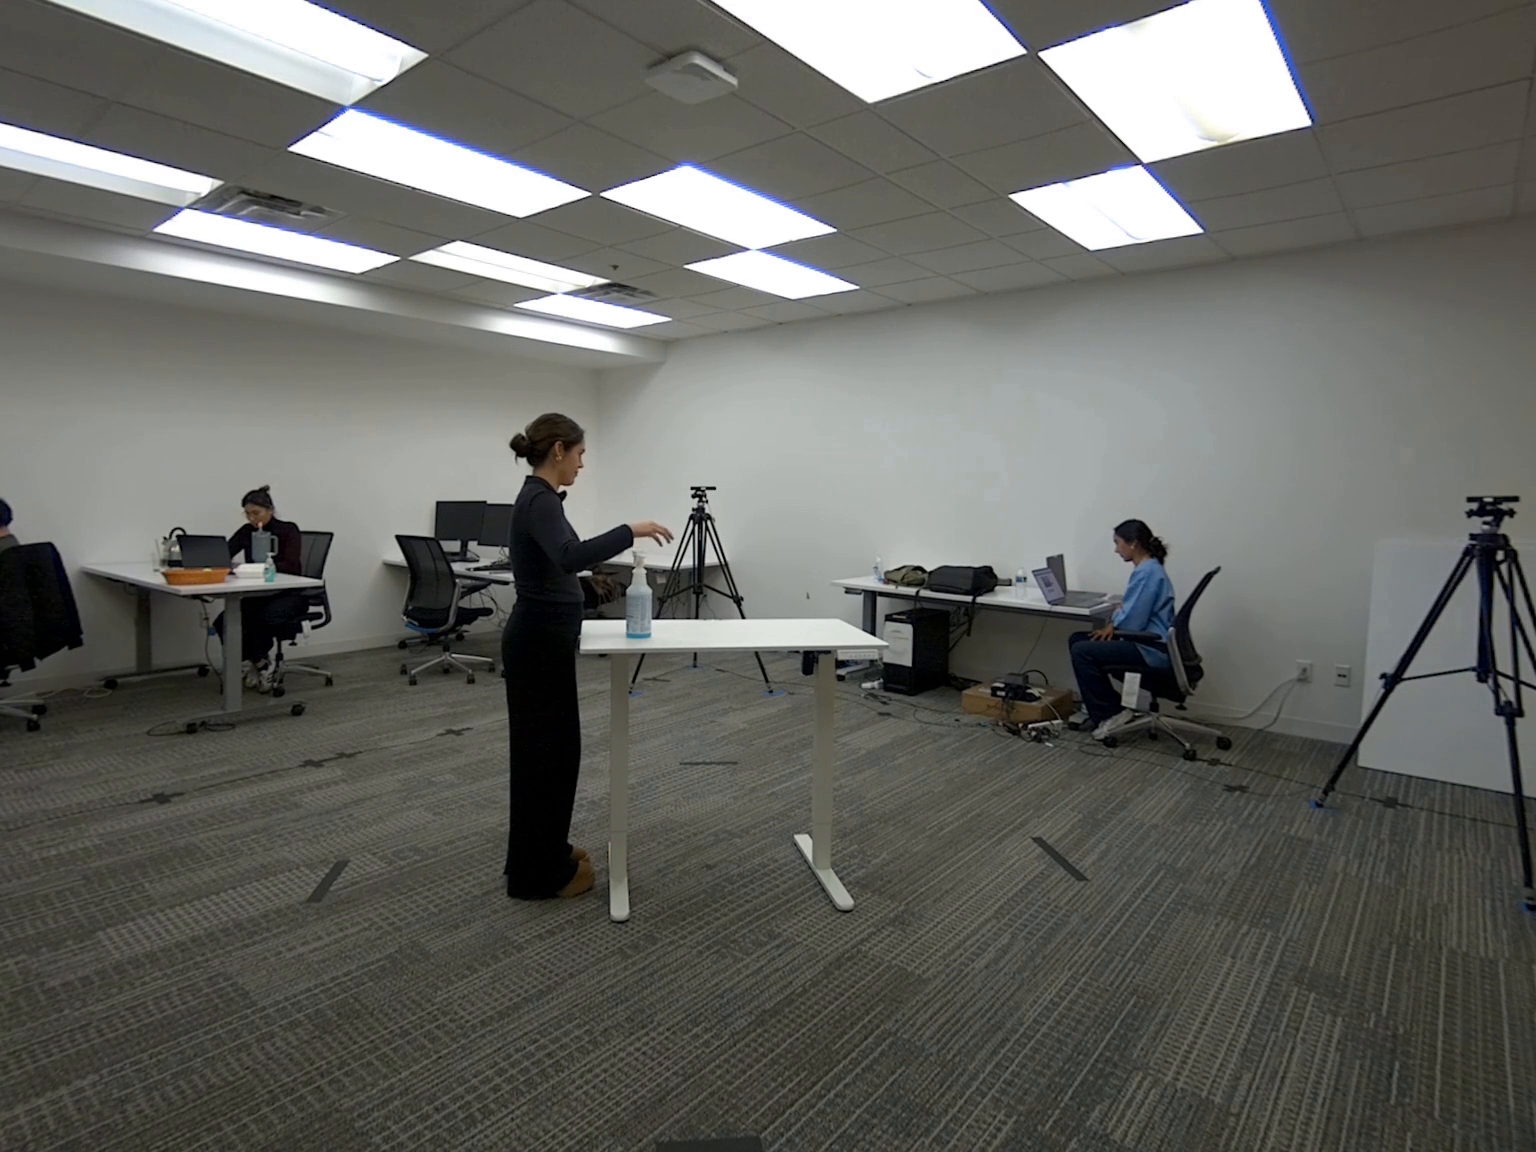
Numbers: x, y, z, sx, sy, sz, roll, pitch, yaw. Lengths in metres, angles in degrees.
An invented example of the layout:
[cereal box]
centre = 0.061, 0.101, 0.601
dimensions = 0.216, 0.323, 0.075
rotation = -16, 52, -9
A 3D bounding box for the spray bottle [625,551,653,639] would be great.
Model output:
[spray bottle]
centre = -0.462, 0.061, 2.876
dimensions = 0.090, 0.296, 0.087
rotation = 2, 4, 39
